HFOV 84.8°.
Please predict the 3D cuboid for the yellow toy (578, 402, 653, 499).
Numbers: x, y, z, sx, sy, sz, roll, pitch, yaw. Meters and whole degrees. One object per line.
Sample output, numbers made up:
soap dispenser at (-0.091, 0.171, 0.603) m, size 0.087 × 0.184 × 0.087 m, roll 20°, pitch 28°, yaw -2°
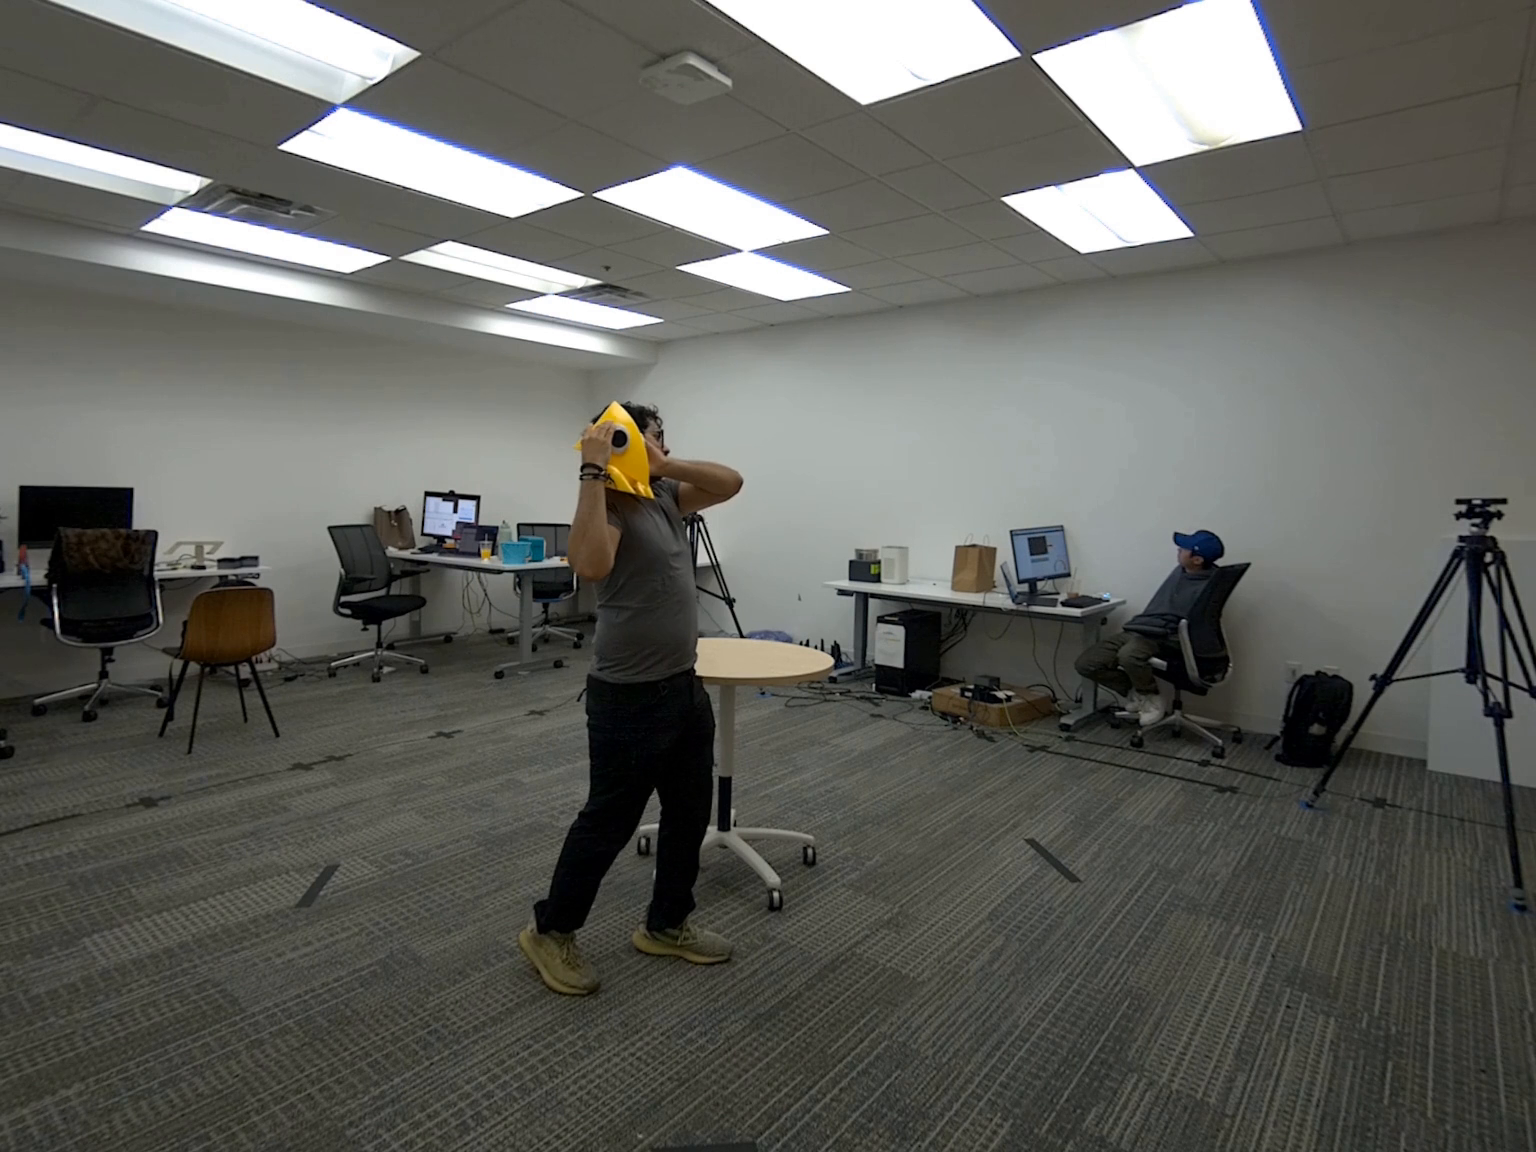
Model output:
yellow toy at (-0.394, -0.346, 2.271) m, size 0.197 × 0.230 × 0.200 m, roll 15°, pitch 2°, yaw 17°
